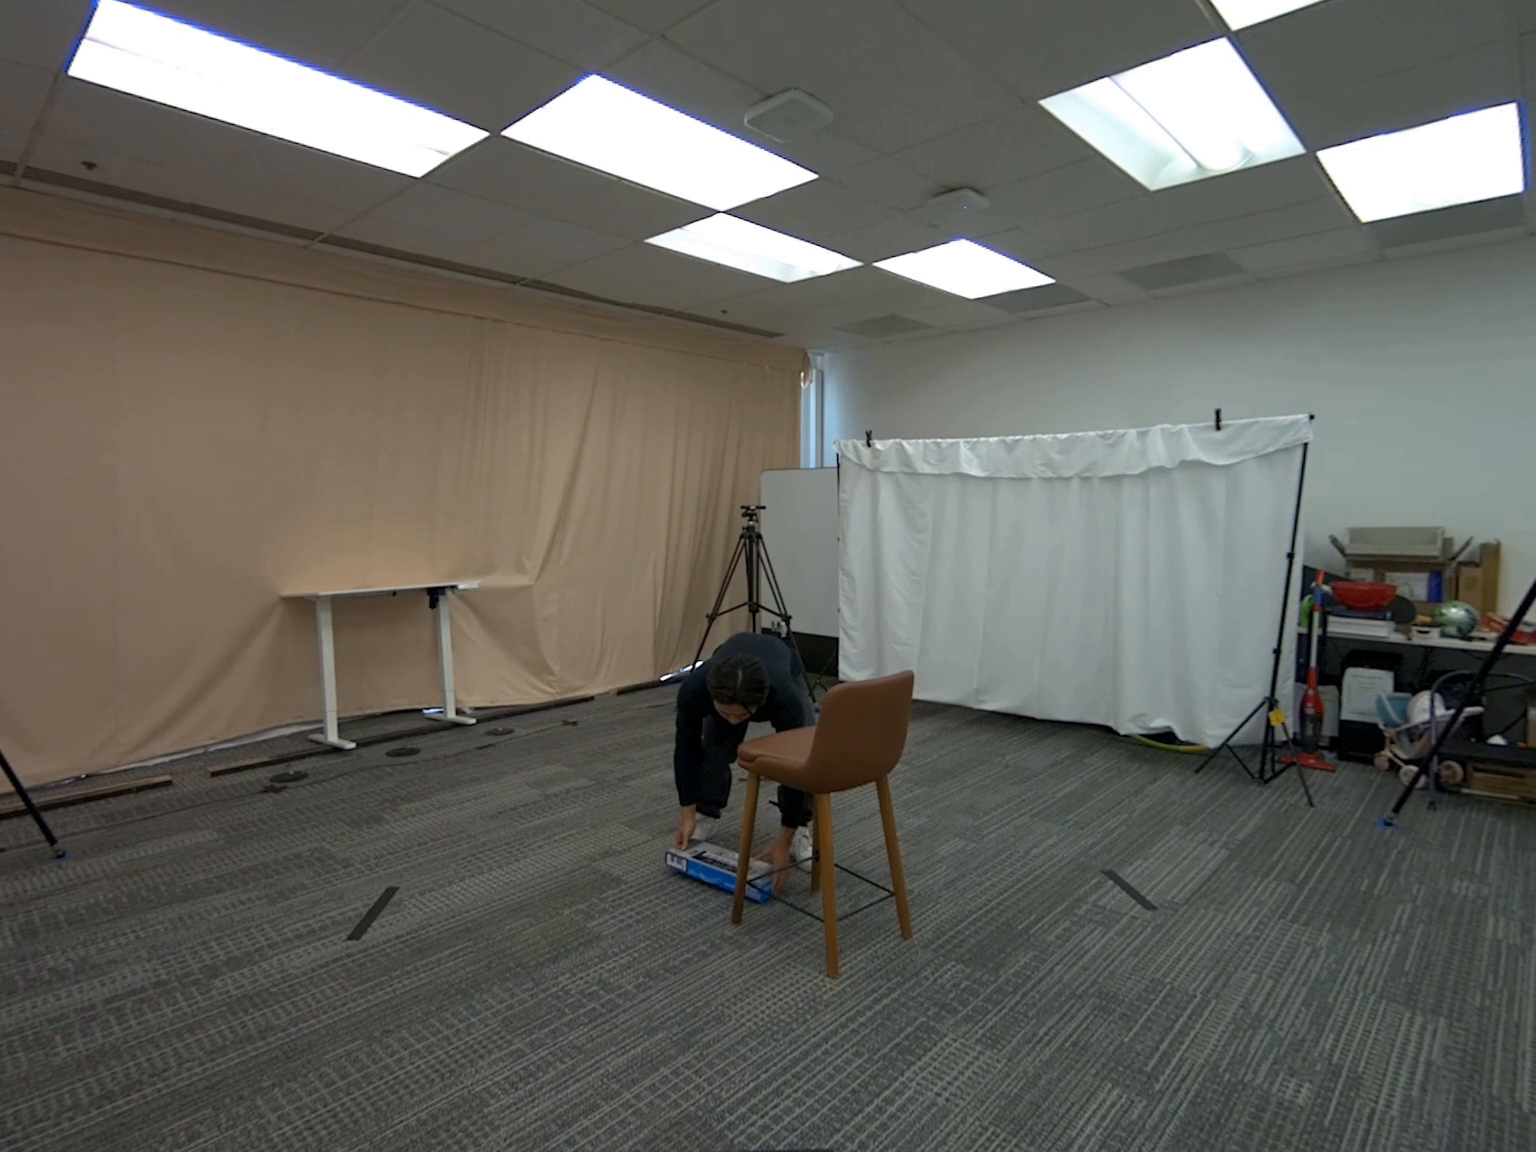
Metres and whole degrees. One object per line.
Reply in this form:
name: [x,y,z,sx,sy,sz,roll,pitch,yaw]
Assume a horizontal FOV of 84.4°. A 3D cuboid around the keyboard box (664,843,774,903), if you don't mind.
keyboard box: [-0.151,1.077,3.114,0.451,0.059,0.171,6,6,35]
